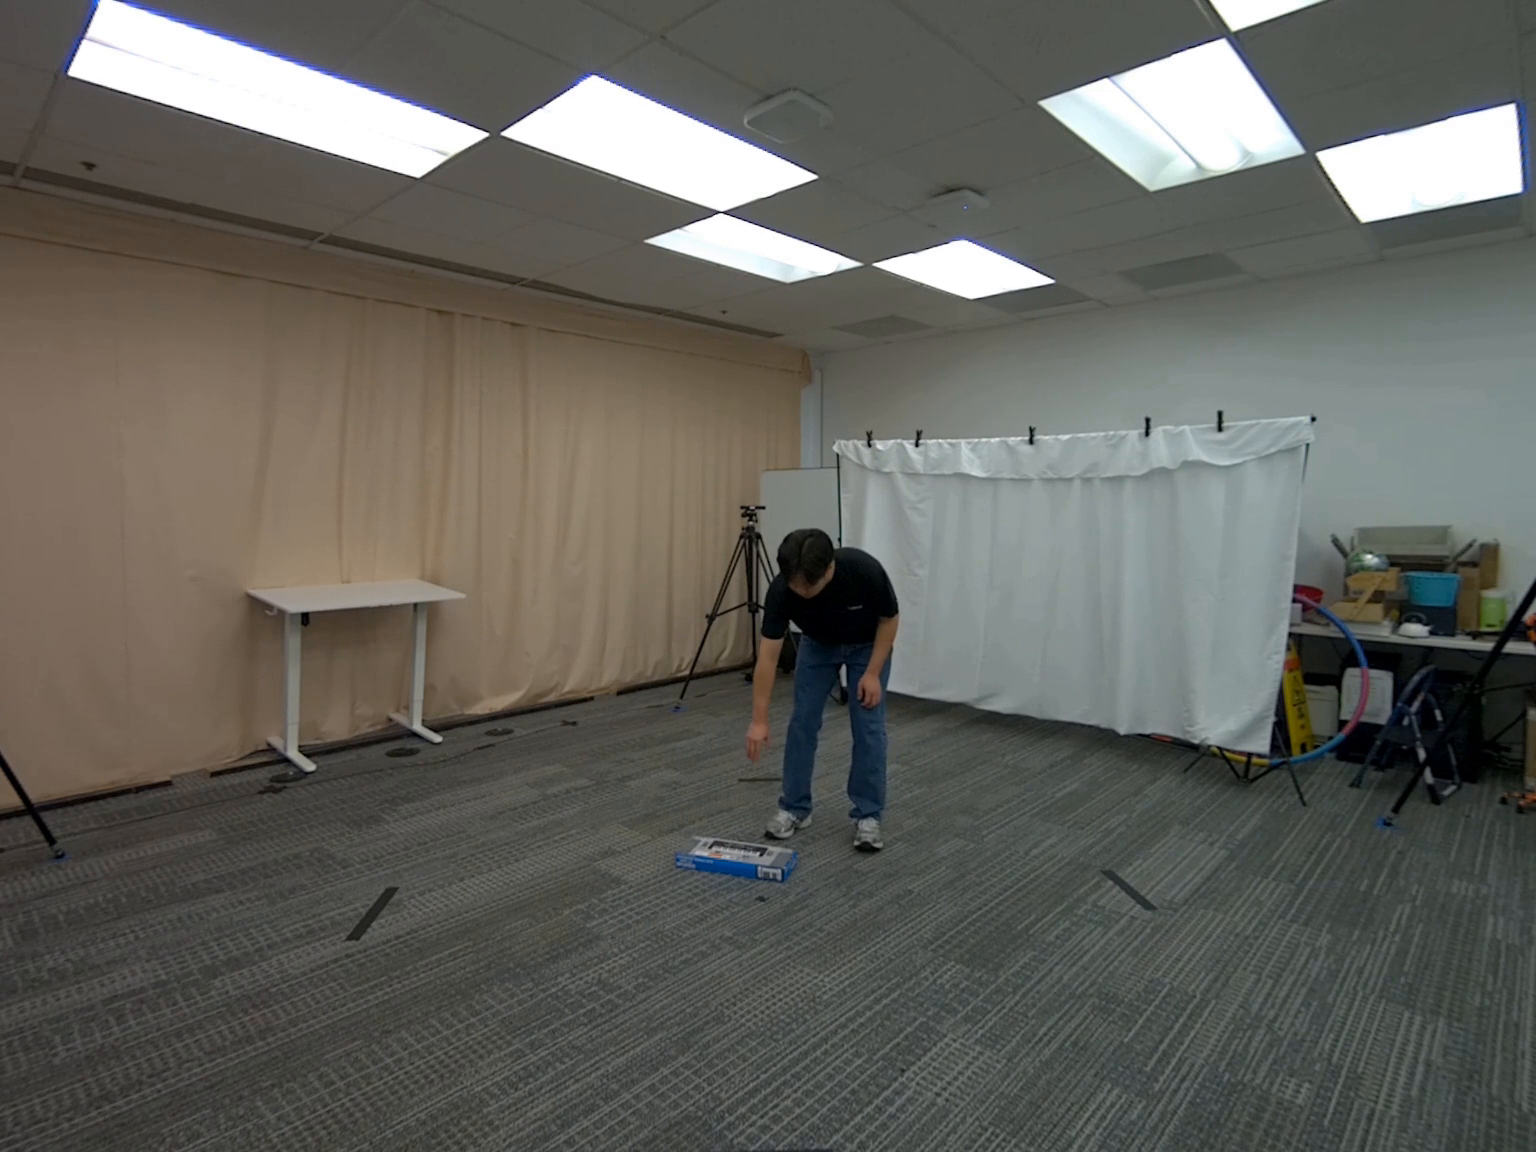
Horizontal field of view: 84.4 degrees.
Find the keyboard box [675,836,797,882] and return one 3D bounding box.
[{"bbox_3d":[-0.124,1.091,3.255,0.446,0.059,0.173,1,6,20],"label":"keyboard box"}]
